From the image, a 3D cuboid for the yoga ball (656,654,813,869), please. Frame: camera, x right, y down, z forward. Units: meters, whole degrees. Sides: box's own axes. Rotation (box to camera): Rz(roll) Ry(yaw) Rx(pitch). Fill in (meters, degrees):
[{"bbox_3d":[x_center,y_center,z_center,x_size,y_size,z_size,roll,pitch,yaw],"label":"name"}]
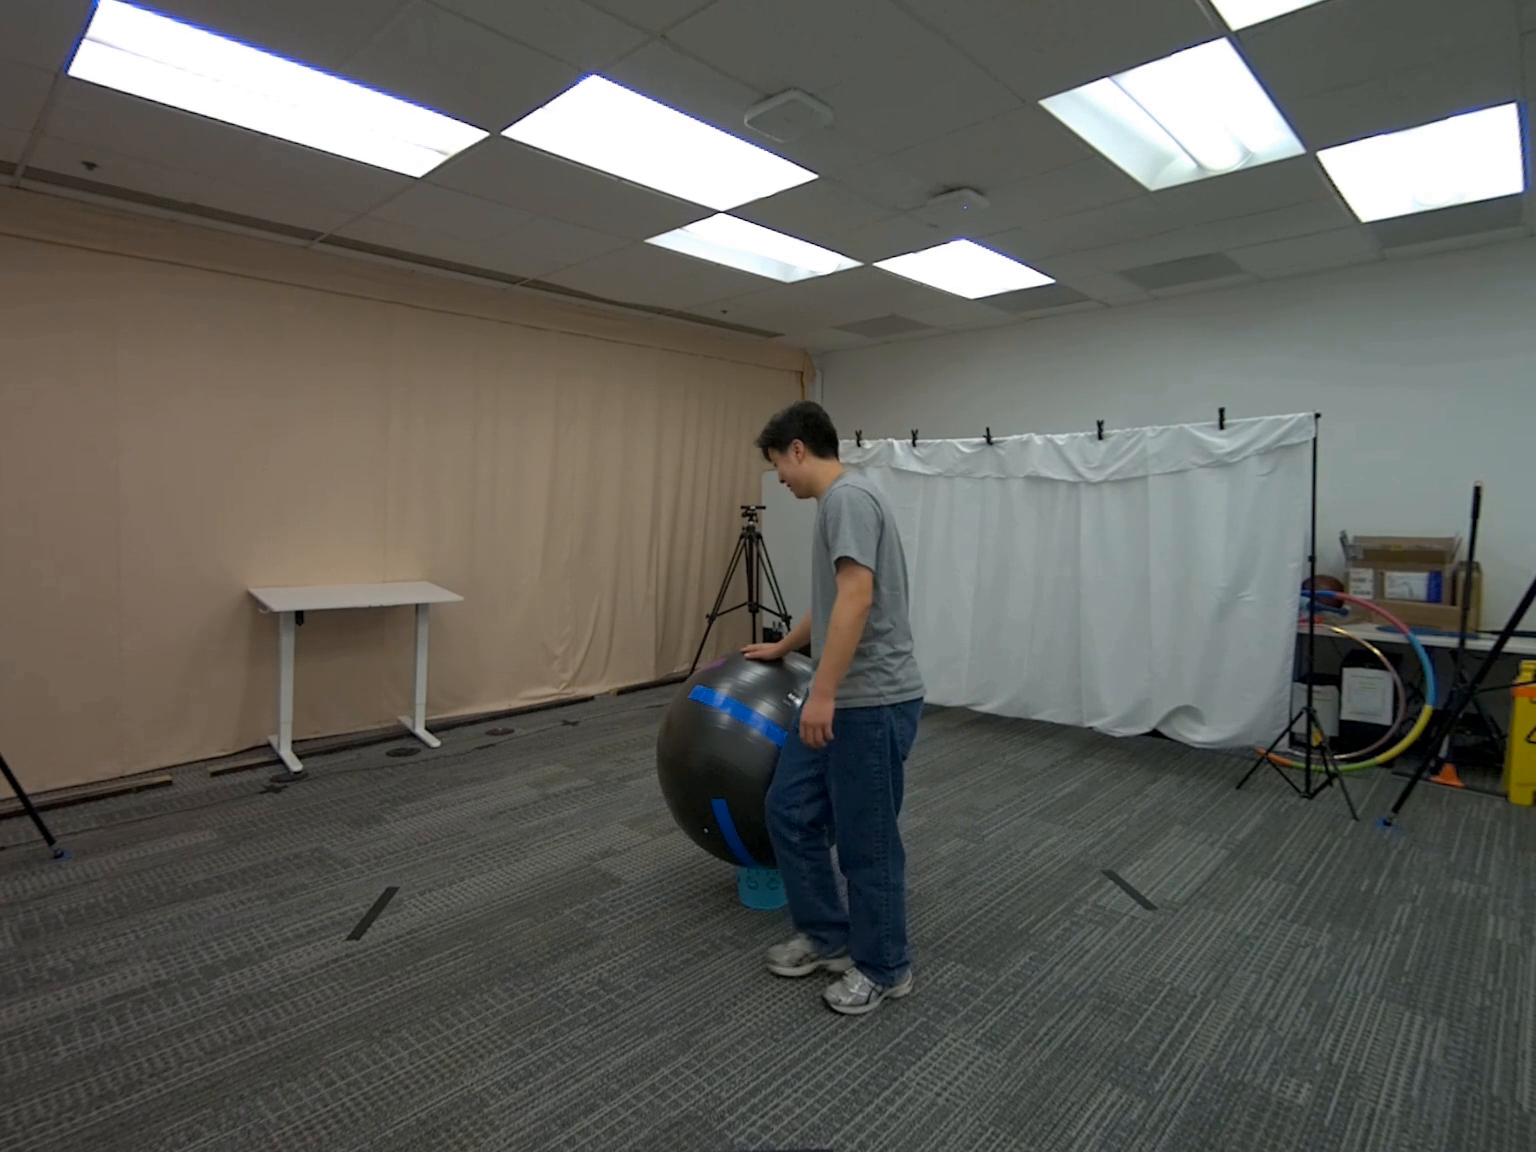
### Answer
[{"bbox_3d":[-0.011,0.632,2.976,0.757,0.756,0.760,0,4,-2],"label":"yoga ball"}]
